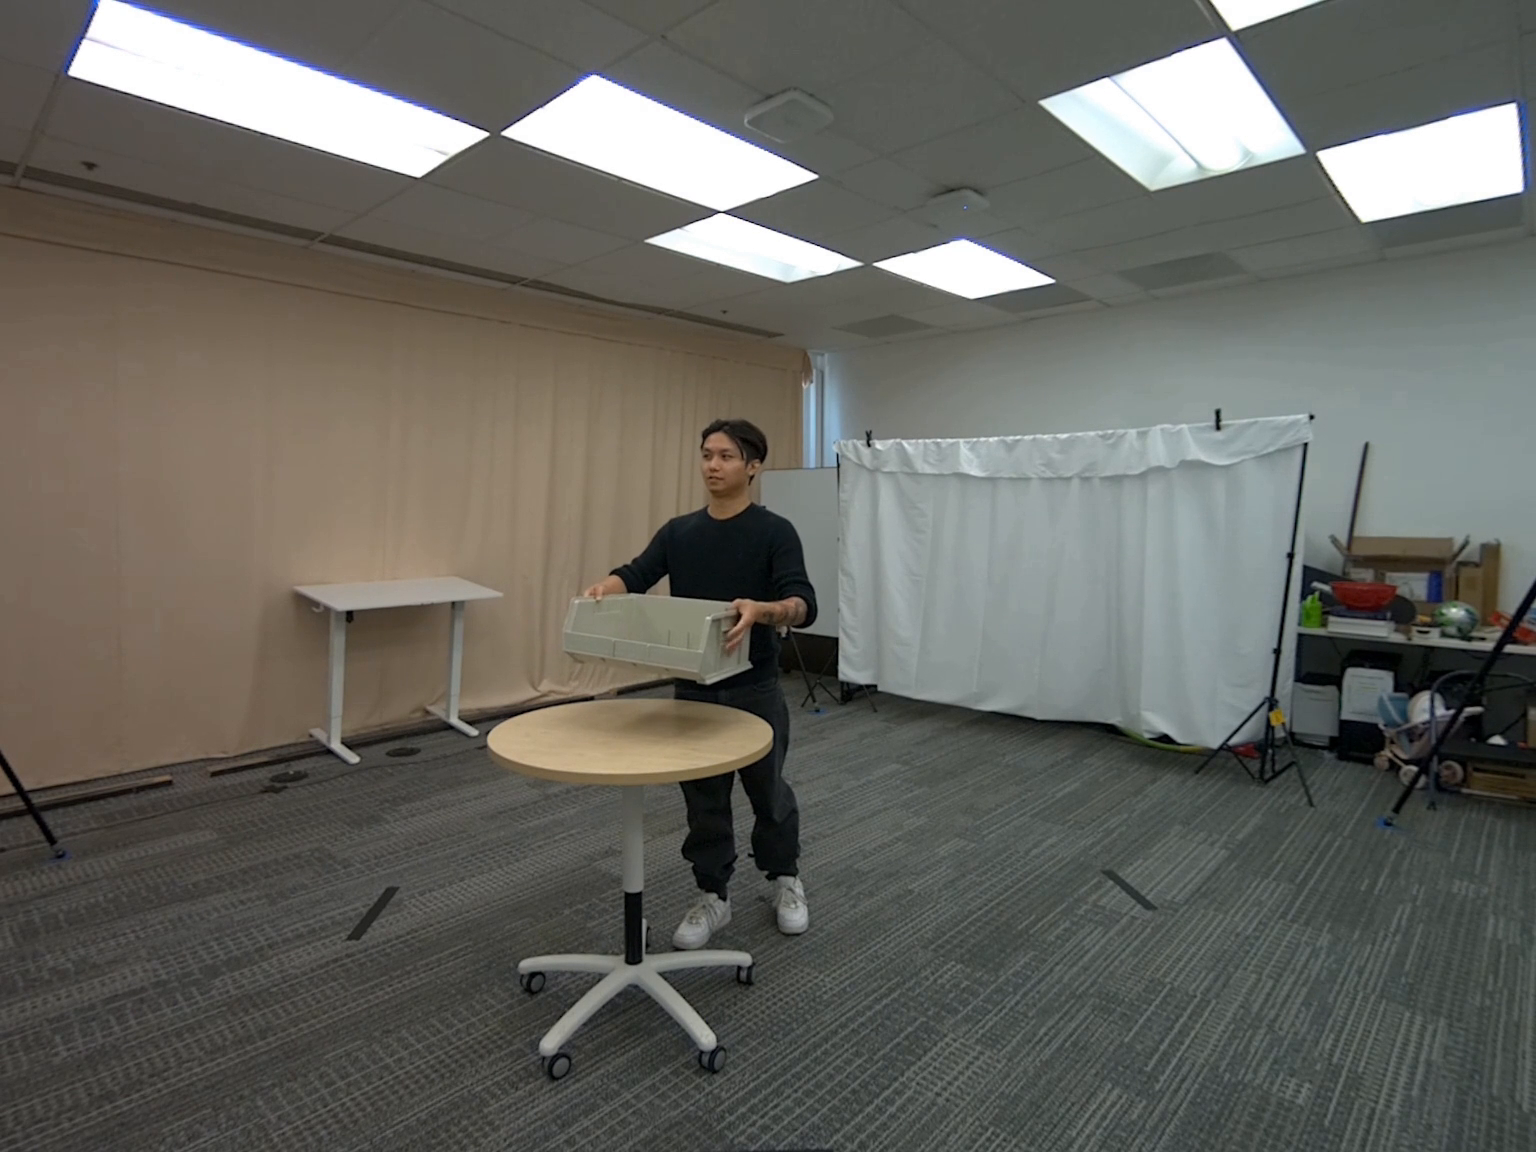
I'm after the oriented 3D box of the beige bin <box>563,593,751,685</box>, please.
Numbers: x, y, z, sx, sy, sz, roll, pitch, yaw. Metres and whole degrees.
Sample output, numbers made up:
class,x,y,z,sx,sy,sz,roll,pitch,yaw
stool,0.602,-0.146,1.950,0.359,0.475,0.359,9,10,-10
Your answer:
class,x,y,z,sx,sy,sz,roll,pitch,yaw
beige bin,-0.289,0.162,2.334,0.432,0.189,0.369,5,2,21
